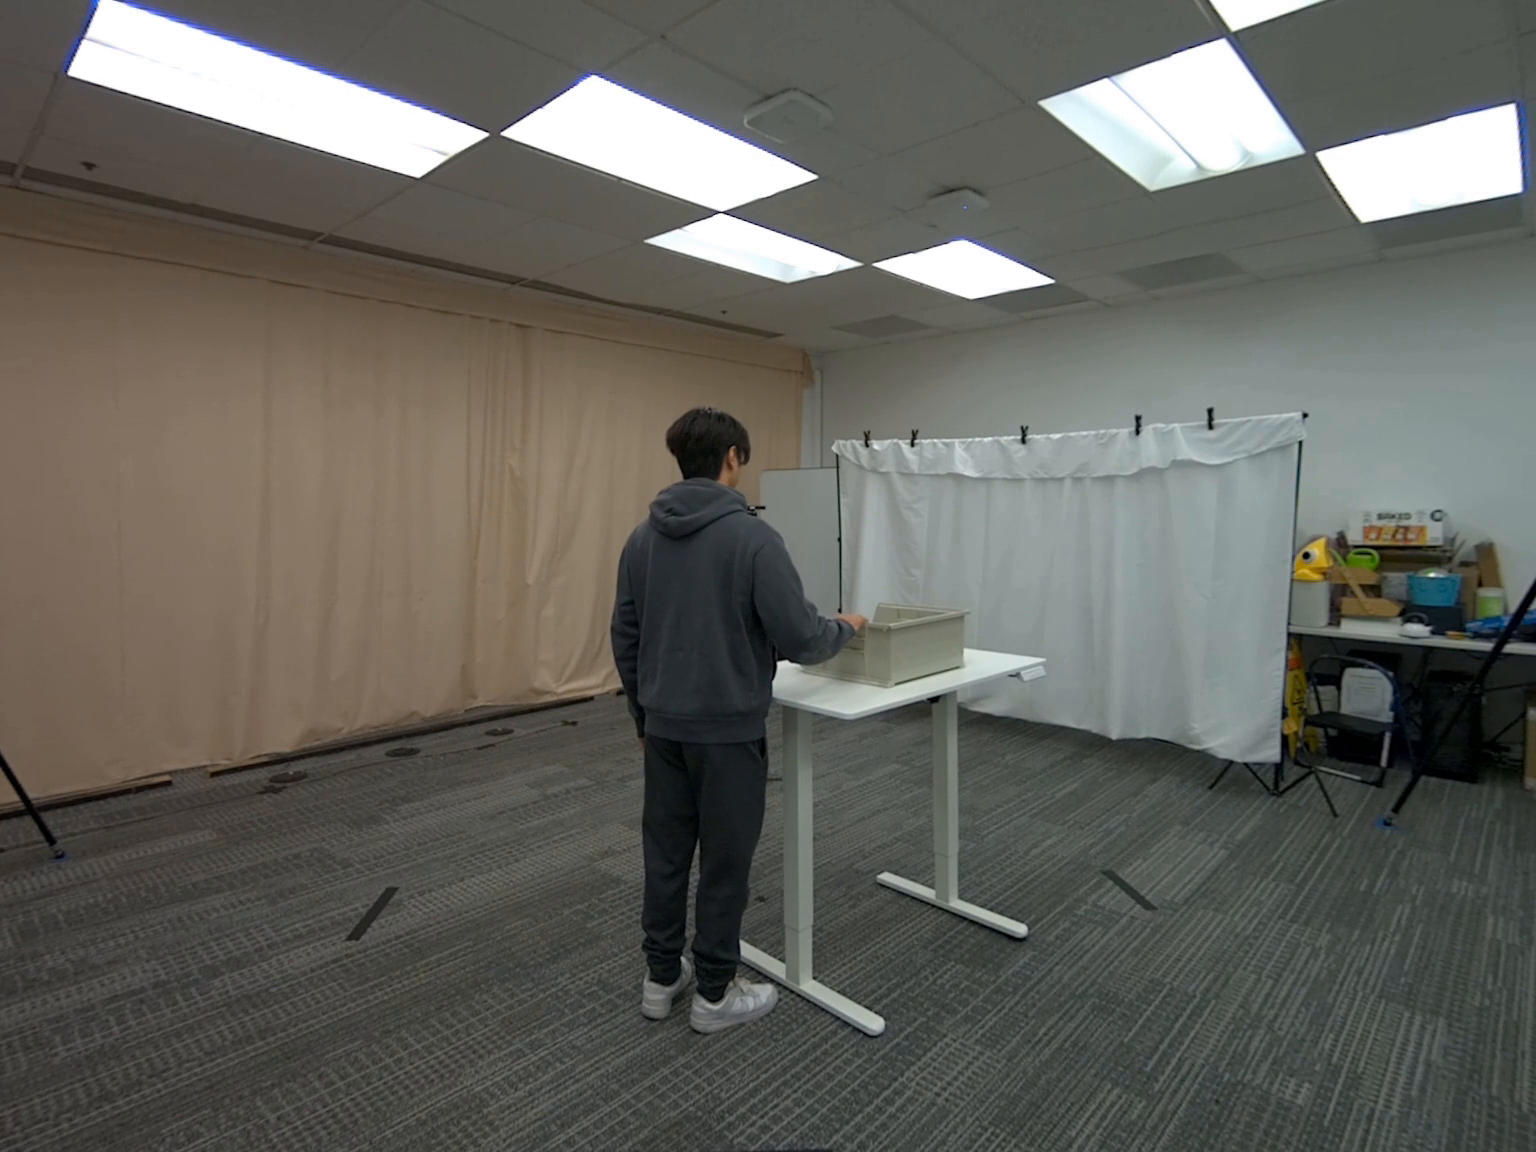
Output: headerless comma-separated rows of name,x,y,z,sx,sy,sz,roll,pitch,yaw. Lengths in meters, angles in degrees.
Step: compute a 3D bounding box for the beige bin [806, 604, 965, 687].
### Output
beige bin,0.353,0.202,2.609,0.409,0.188,0.390,-5,7,-45
